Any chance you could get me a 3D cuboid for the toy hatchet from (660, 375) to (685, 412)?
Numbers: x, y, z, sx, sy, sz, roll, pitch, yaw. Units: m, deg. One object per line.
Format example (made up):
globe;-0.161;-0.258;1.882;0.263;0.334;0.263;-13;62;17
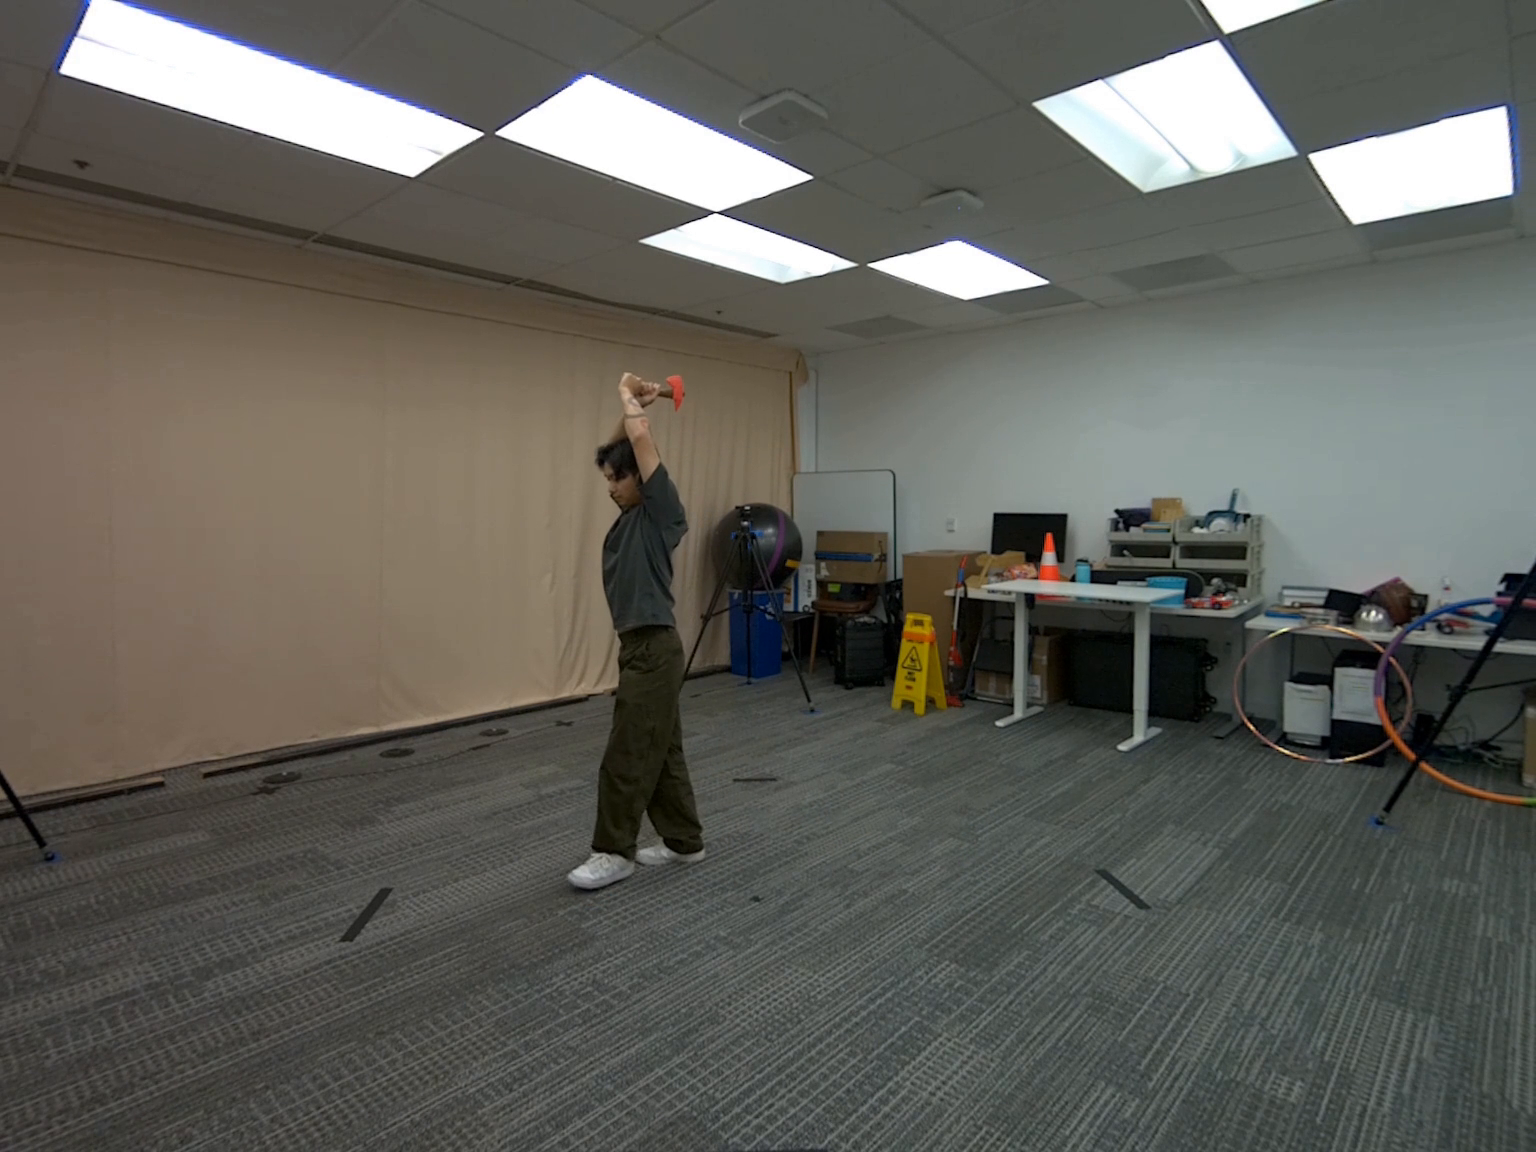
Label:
toy hatchet;-0.434;-0.738;3.229;0.263;0.131;0.030;20;7;-25
